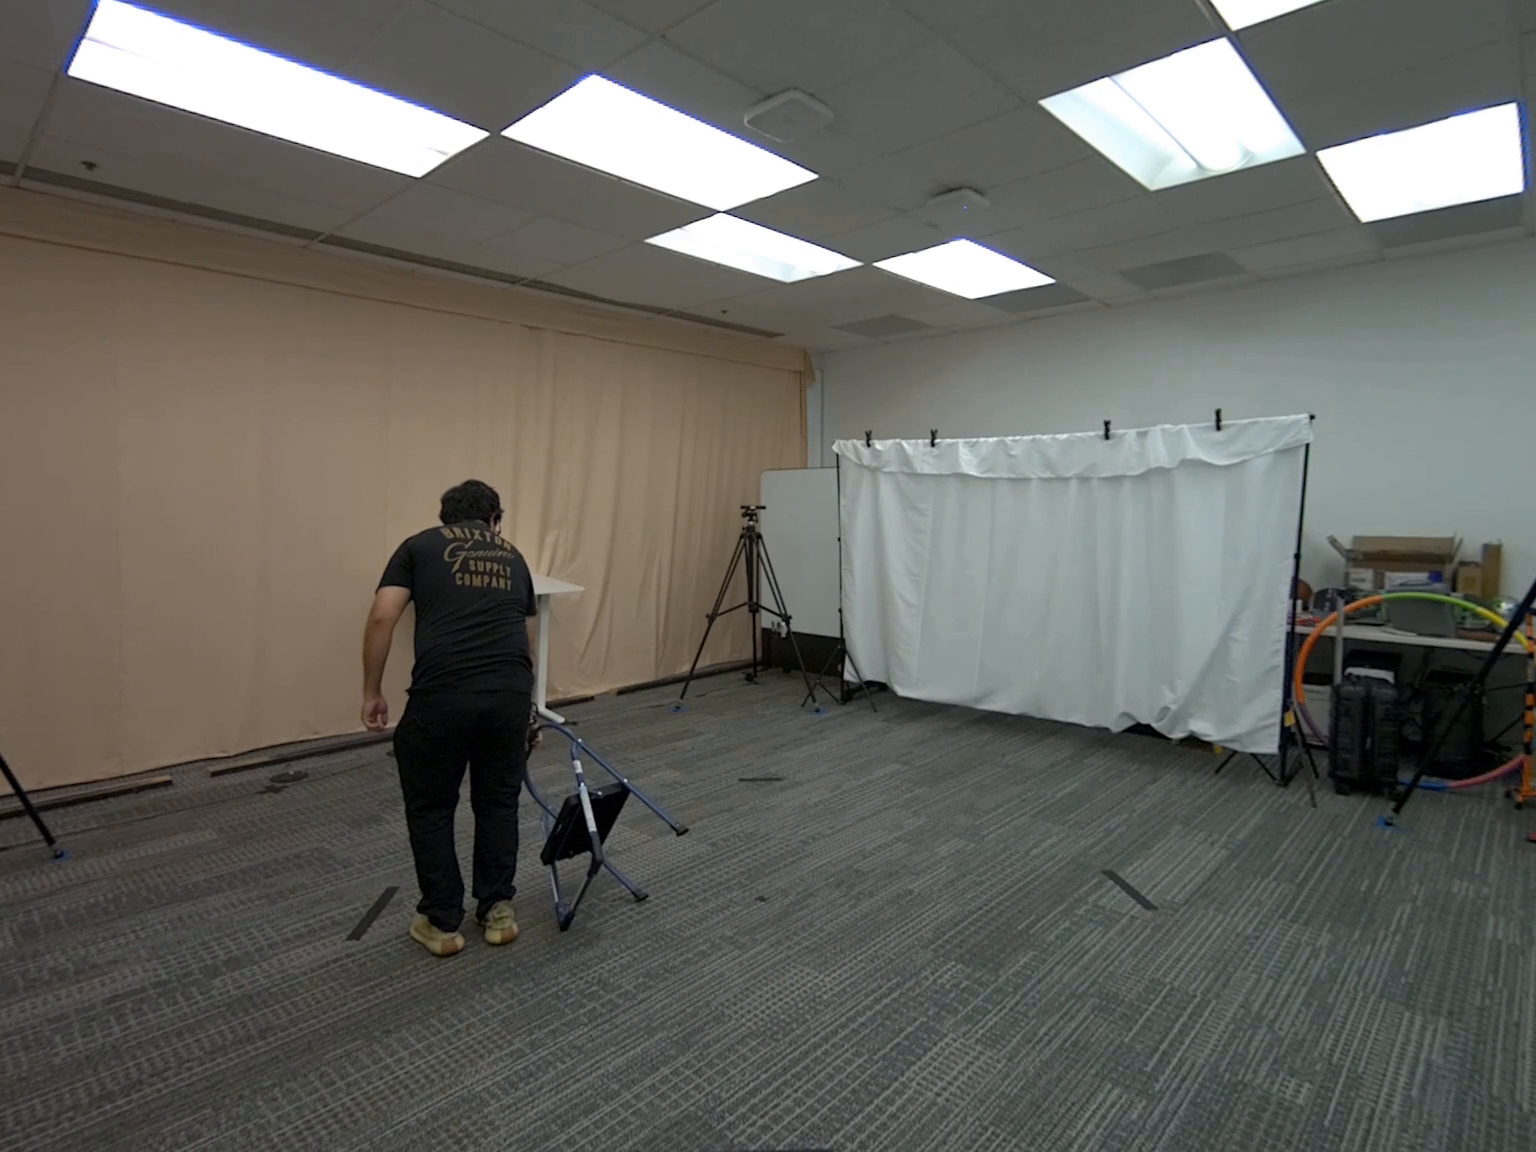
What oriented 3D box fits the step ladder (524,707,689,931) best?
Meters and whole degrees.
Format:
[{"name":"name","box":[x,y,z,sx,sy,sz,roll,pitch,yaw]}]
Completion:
[{"name":"step ladder","box":[-0.636,0.804,2.929,0.339,0.430,0.626,-5,43,-42]}]
